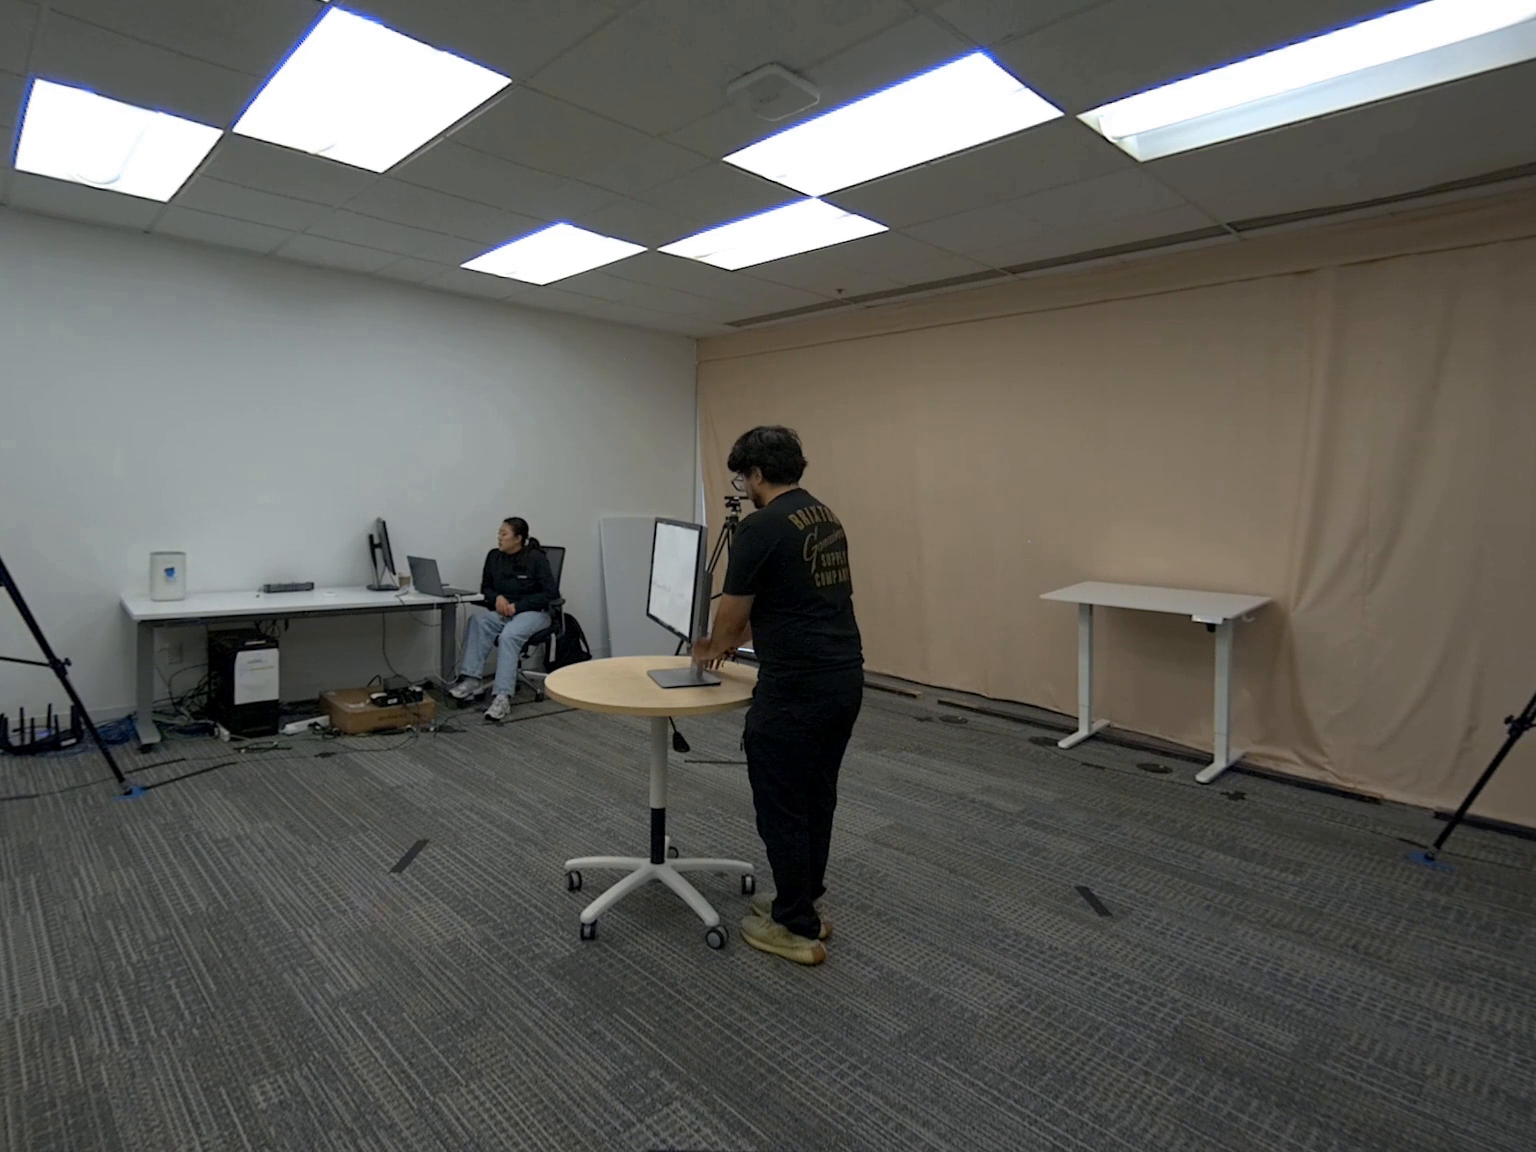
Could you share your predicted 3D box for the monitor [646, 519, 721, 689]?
[{"bbox_3d":[-0.260,0.085,2.829,0.207,0.552,0.575,2,4,-20],"label":"monitor"}]
